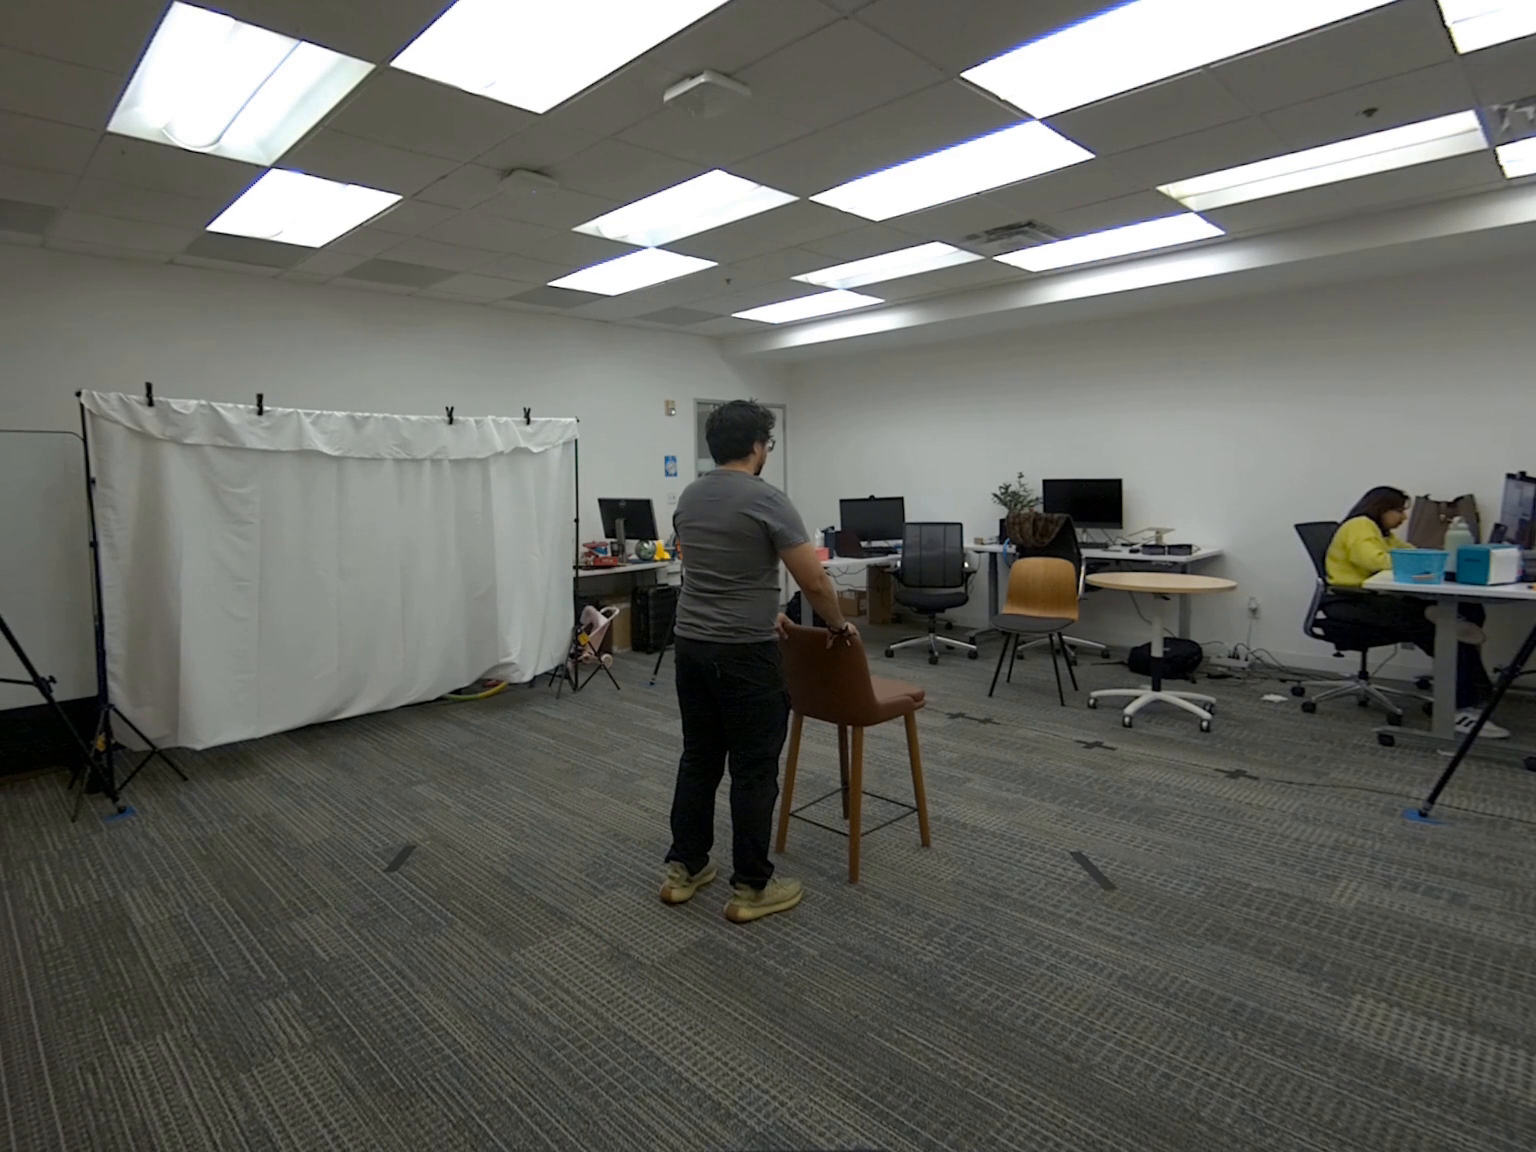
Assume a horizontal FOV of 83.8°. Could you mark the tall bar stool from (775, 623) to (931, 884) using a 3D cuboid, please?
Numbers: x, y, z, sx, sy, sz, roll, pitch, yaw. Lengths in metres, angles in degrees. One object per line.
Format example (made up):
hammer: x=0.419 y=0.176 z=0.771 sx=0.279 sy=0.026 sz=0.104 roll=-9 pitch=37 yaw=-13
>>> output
tall bar stool: x=0.303 y=0.590 z=3.186 sx=0.456 sy=0.885 sz=0.470 roll=-7 pitch=8 yaw=-44
